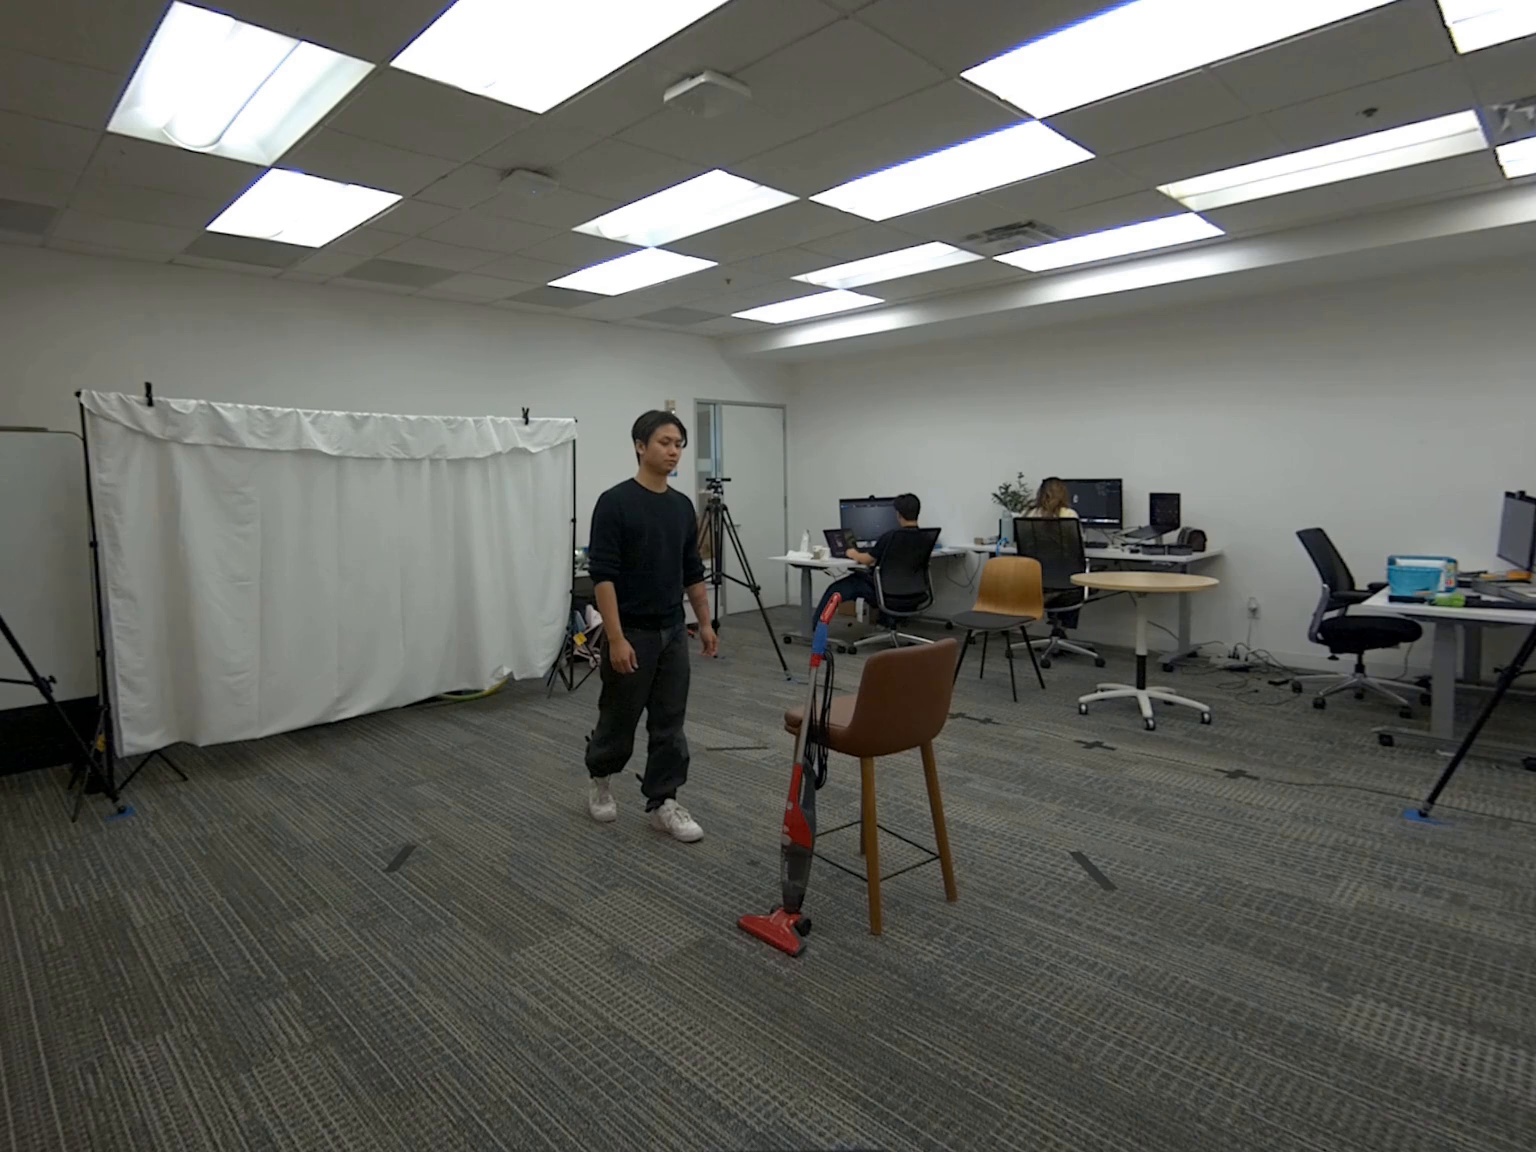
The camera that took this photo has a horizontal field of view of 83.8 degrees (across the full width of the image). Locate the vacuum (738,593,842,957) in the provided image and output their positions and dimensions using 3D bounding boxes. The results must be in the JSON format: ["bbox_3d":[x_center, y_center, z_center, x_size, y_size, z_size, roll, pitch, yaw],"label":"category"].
[{"bbox_3d":[0.137,0.582,2.675,0.139,1.054,0.260,15,-8,-42],"label":"vacuum"}]
